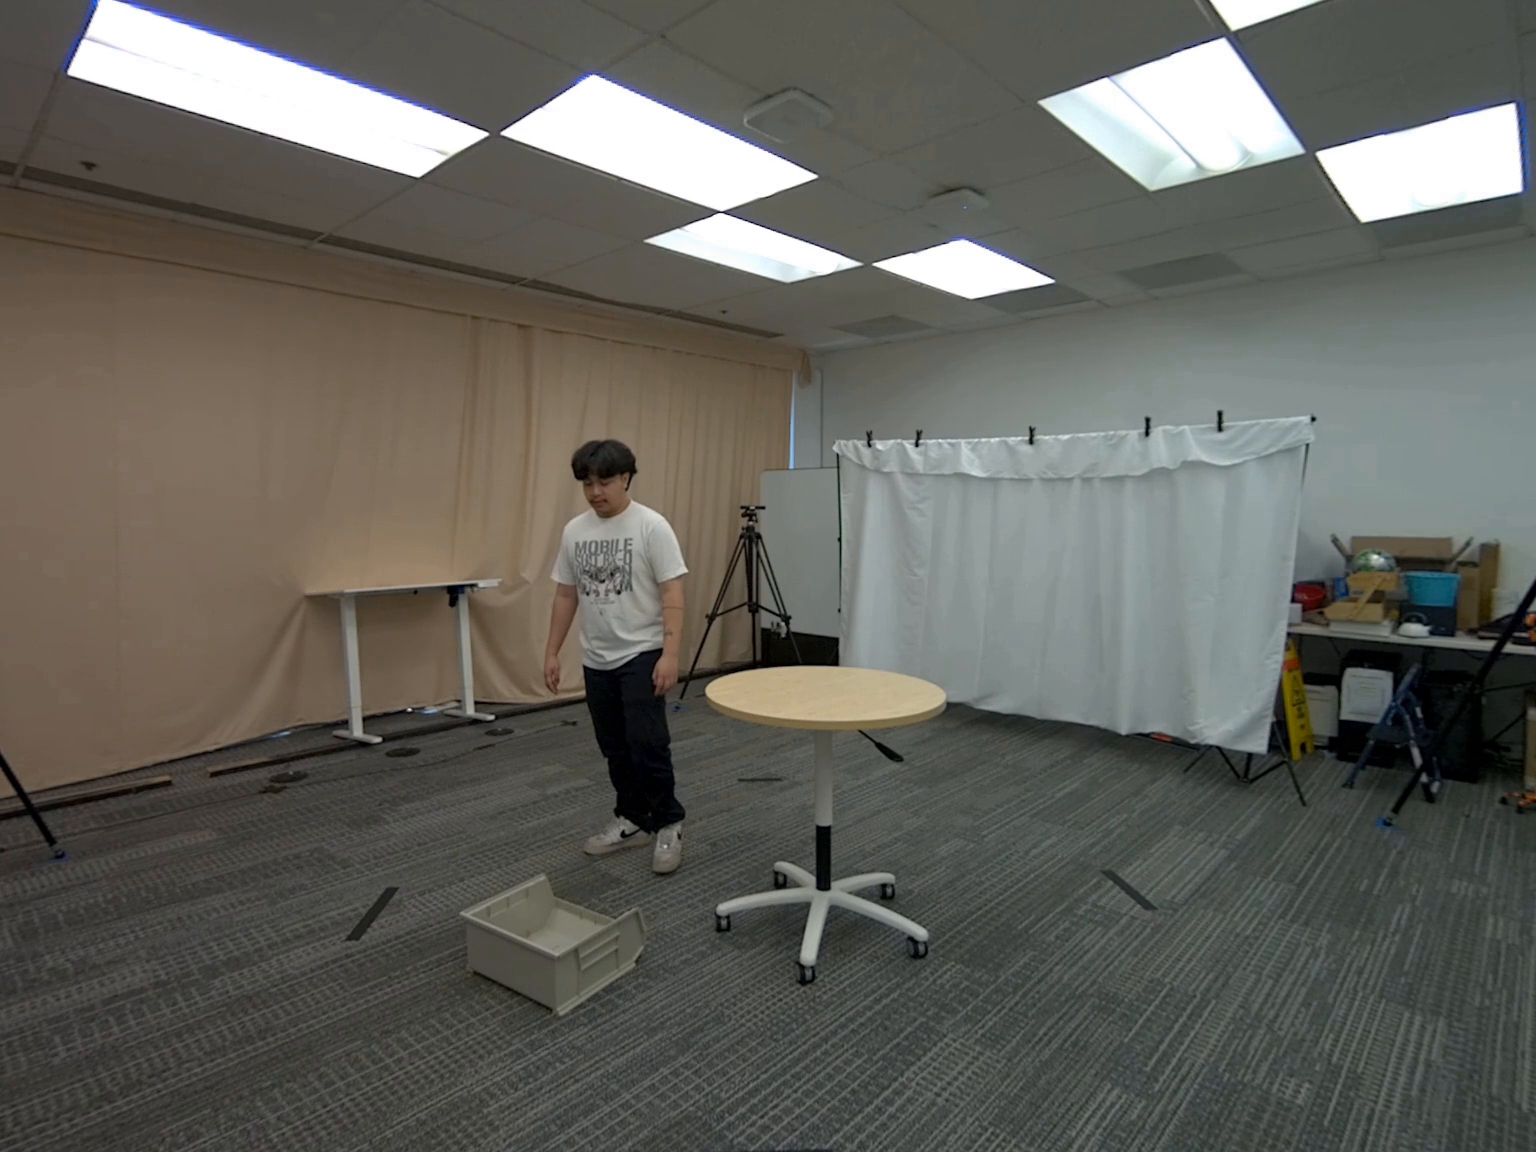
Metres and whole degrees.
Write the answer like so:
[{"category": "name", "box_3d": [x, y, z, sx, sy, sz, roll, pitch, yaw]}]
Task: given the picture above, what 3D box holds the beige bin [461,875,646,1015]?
[{"category": "beige bin", "box_3d": [-0.647, 1.092, 2.556, 0.435, 0.188, 0.367, 3, 6, 33]}]
